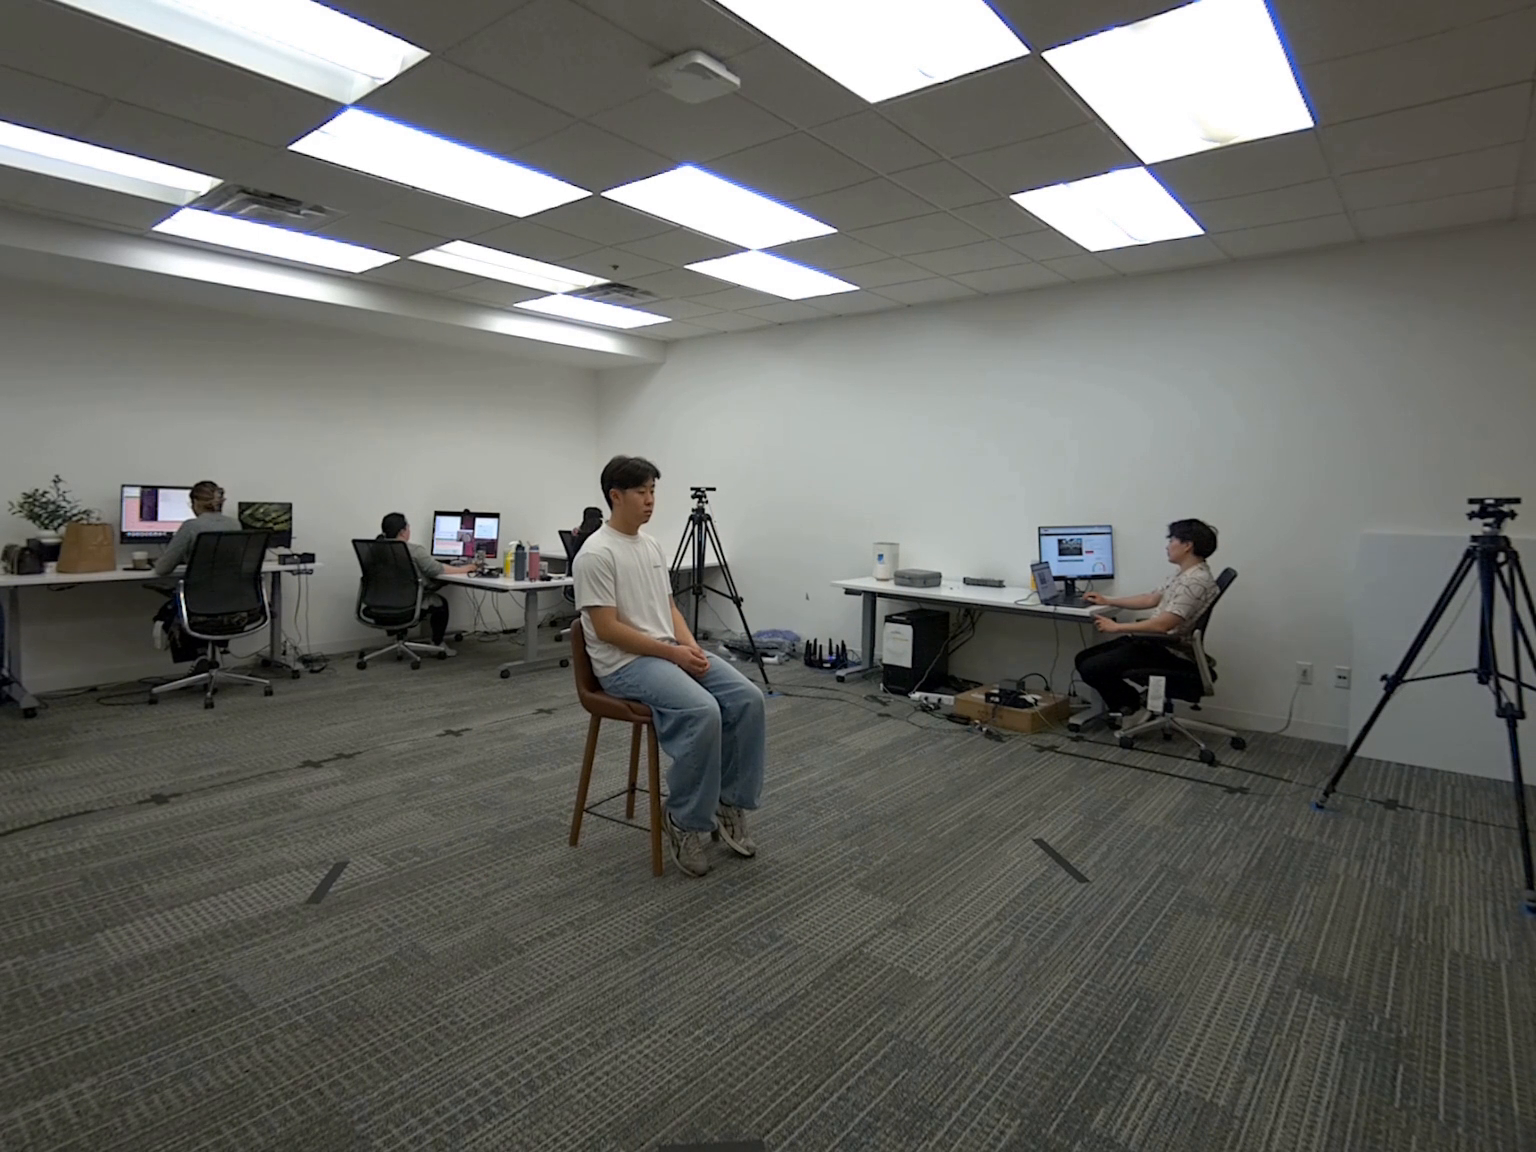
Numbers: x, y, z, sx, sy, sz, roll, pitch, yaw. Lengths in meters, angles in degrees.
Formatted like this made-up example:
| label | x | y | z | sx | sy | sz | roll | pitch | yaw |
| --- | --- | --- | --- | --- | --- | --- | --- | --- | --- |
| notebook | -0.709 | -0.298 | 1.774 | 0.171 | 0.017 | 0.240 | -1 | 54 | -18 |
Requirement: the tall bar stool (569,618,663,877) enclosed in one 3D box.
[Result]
| label | x | y | z | sx | sy | sz | roll | pitch | yaw |
| --- | --- | --- | --- | --- | --- | --- | --- | --- | --- |
| tall bar stool | -0.500 | 0.607 | 3.316 | 0.481 | 0.889 | 0.444 | 0 | 1 | 31 |
